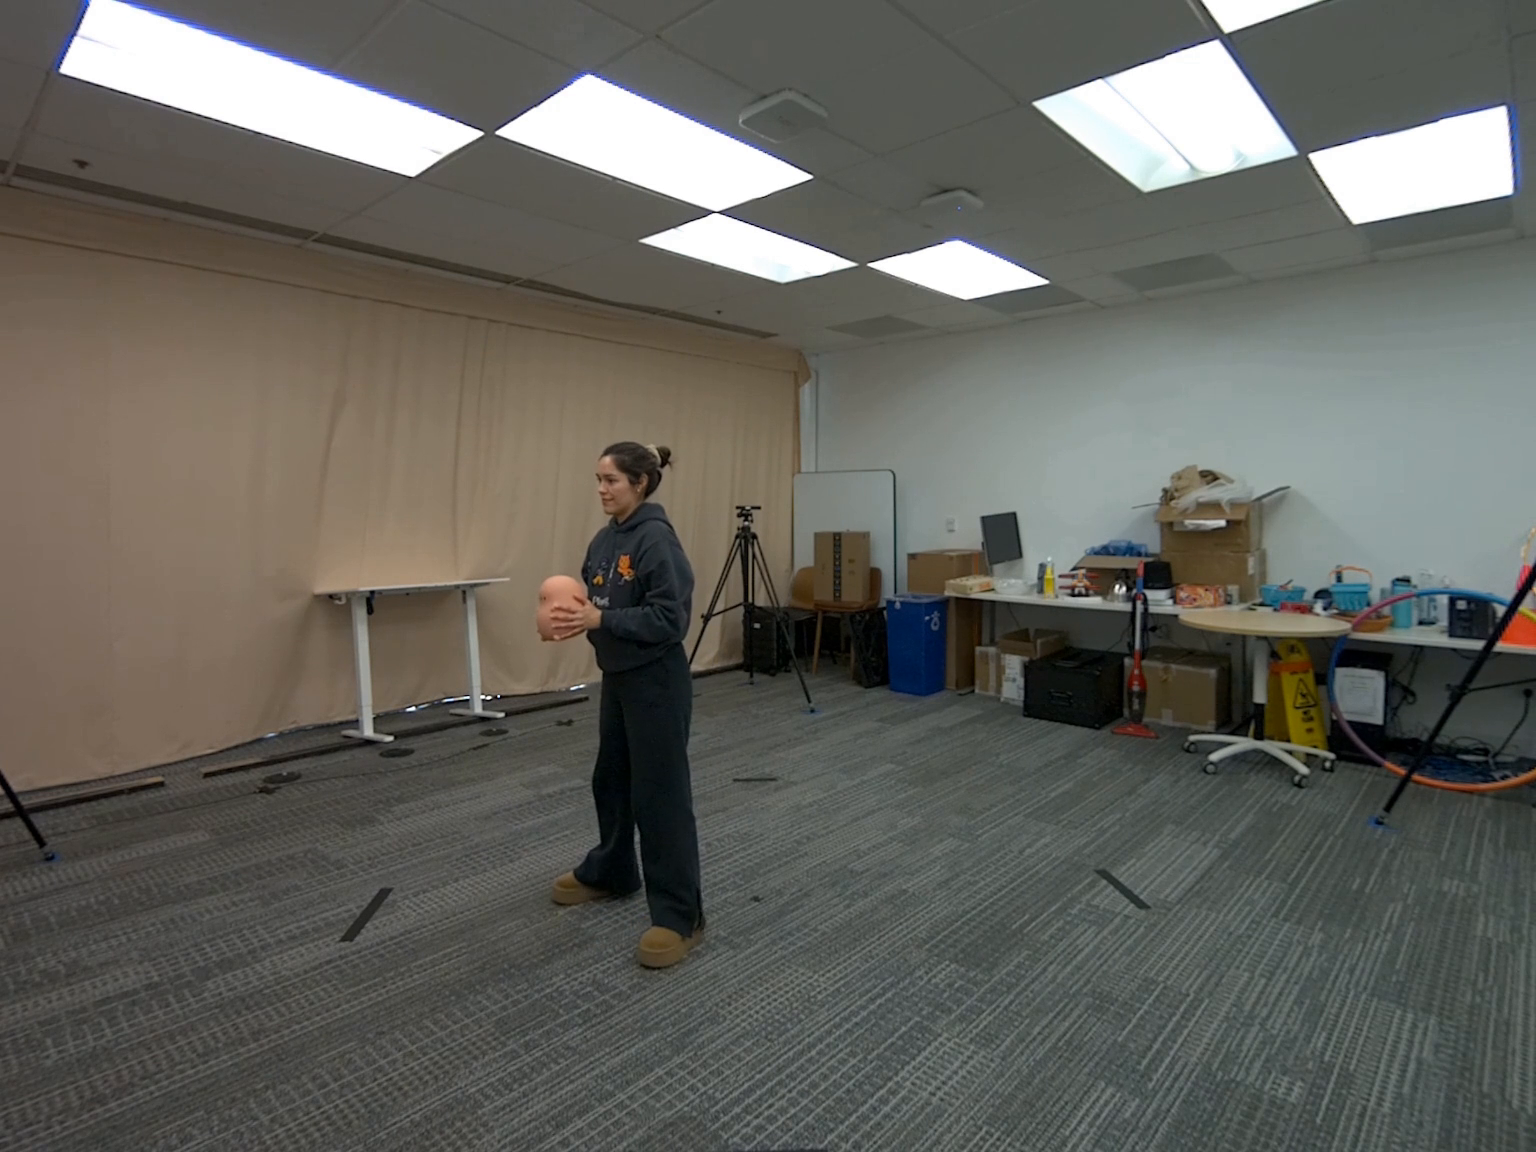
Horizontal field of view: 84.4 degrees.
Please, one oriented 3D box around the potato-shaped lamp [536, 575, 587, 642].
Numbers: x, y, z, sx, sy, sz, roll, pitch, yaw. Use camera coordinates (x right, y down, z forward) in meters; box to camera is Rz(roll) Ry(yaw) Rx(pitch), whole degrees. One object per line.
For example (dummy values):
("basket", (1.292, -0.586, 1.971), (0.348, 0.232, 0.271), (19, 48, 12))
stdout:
("potato-shaped lamp", (-0.644, 0.105, 2.667), (0.167, 0.197, 0.169), (-16, 4, -34))
